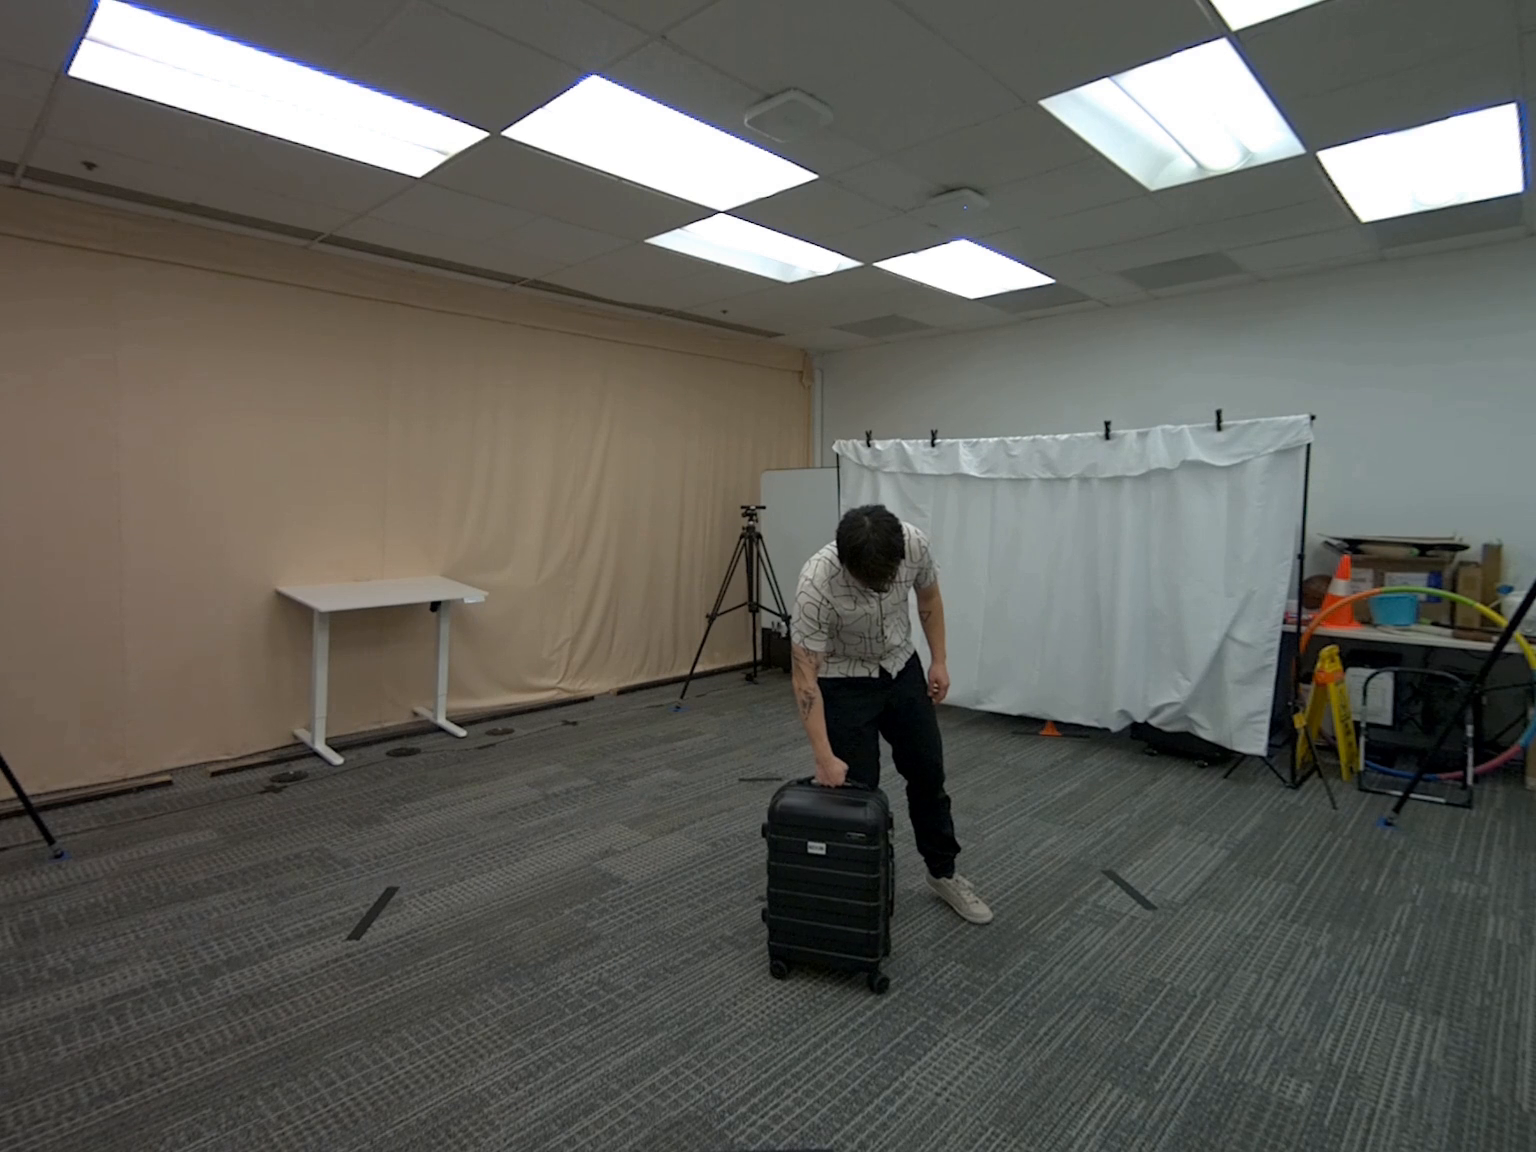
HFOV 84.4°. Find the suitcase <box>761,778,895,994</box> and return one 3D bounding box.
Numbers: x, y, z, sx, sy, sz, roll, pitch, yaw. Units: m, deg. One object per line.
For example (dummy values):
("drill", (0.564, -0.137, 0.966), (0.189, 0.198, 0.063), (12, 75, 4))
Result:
("suitcase", (0.189, 0.904, 2.531), (0.383, 0.548, 0.244), (1, 4, 18))
